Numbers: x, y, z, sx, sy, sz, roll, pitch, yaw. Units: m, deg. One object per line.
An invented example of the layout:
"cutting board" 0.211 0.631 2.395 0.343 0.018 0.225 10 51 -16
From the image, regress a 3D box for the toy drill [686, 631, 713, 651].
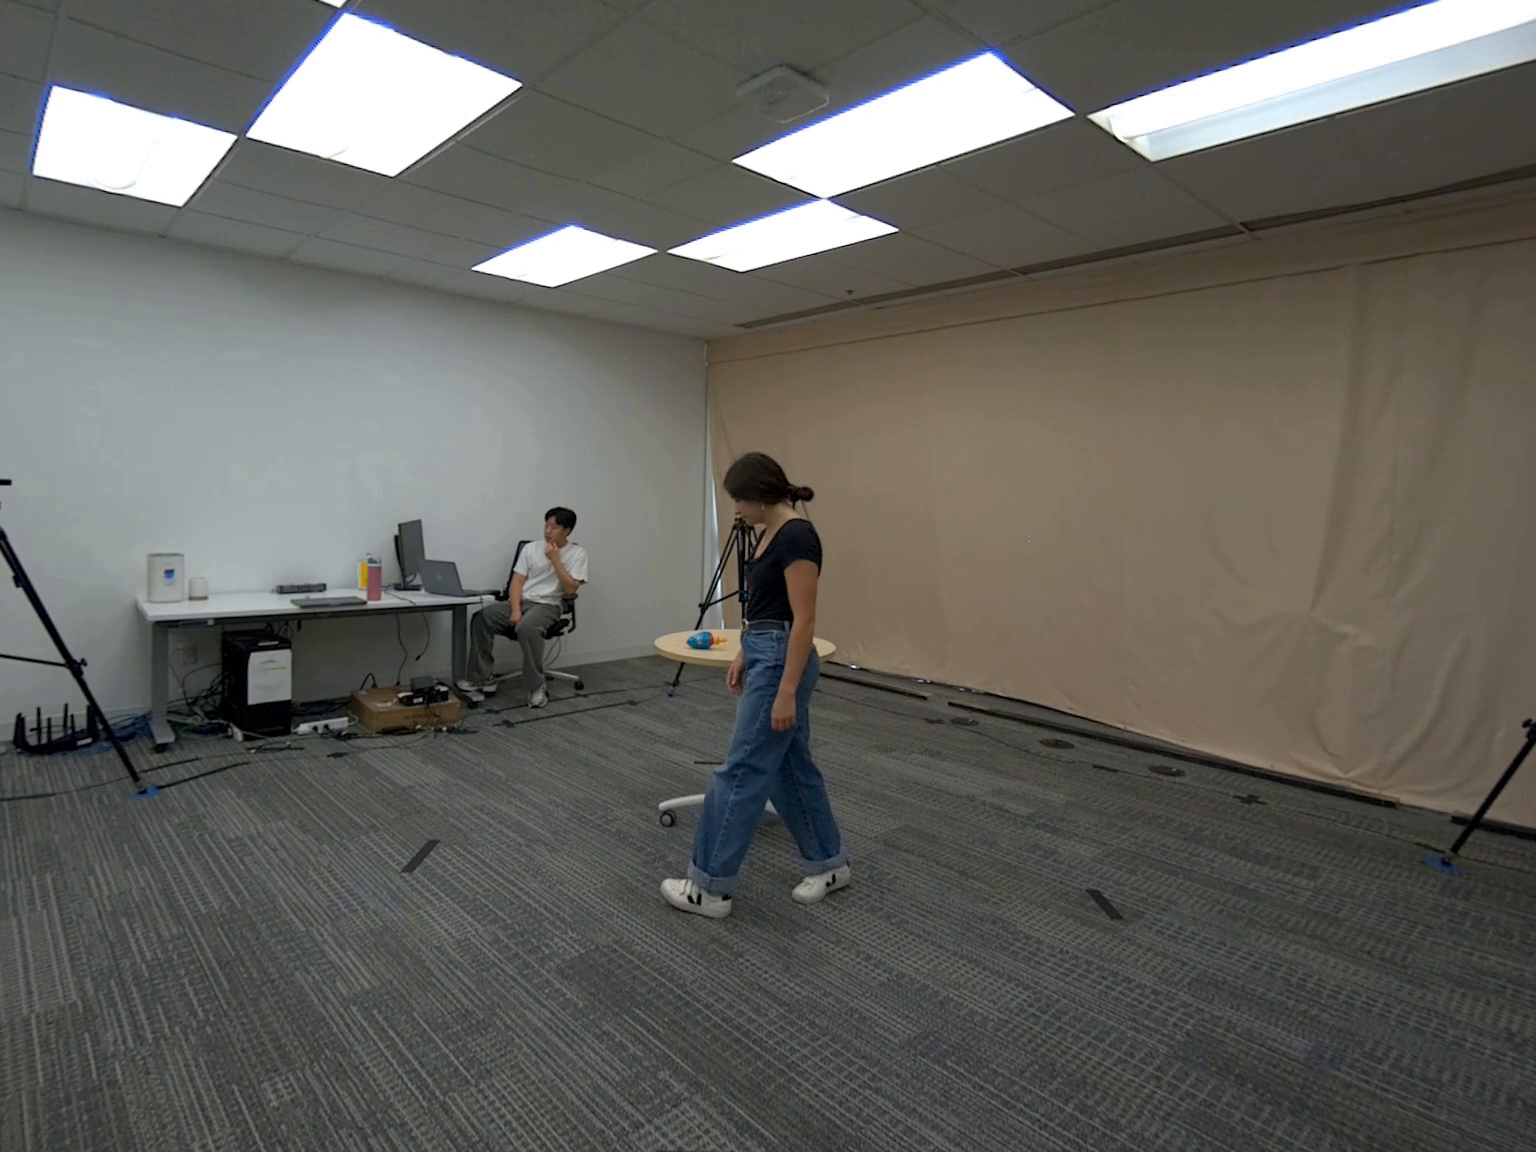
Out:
"toy drill" -0.245 0.264 3.443 0.171 0.061 0.145 -5 3 11
